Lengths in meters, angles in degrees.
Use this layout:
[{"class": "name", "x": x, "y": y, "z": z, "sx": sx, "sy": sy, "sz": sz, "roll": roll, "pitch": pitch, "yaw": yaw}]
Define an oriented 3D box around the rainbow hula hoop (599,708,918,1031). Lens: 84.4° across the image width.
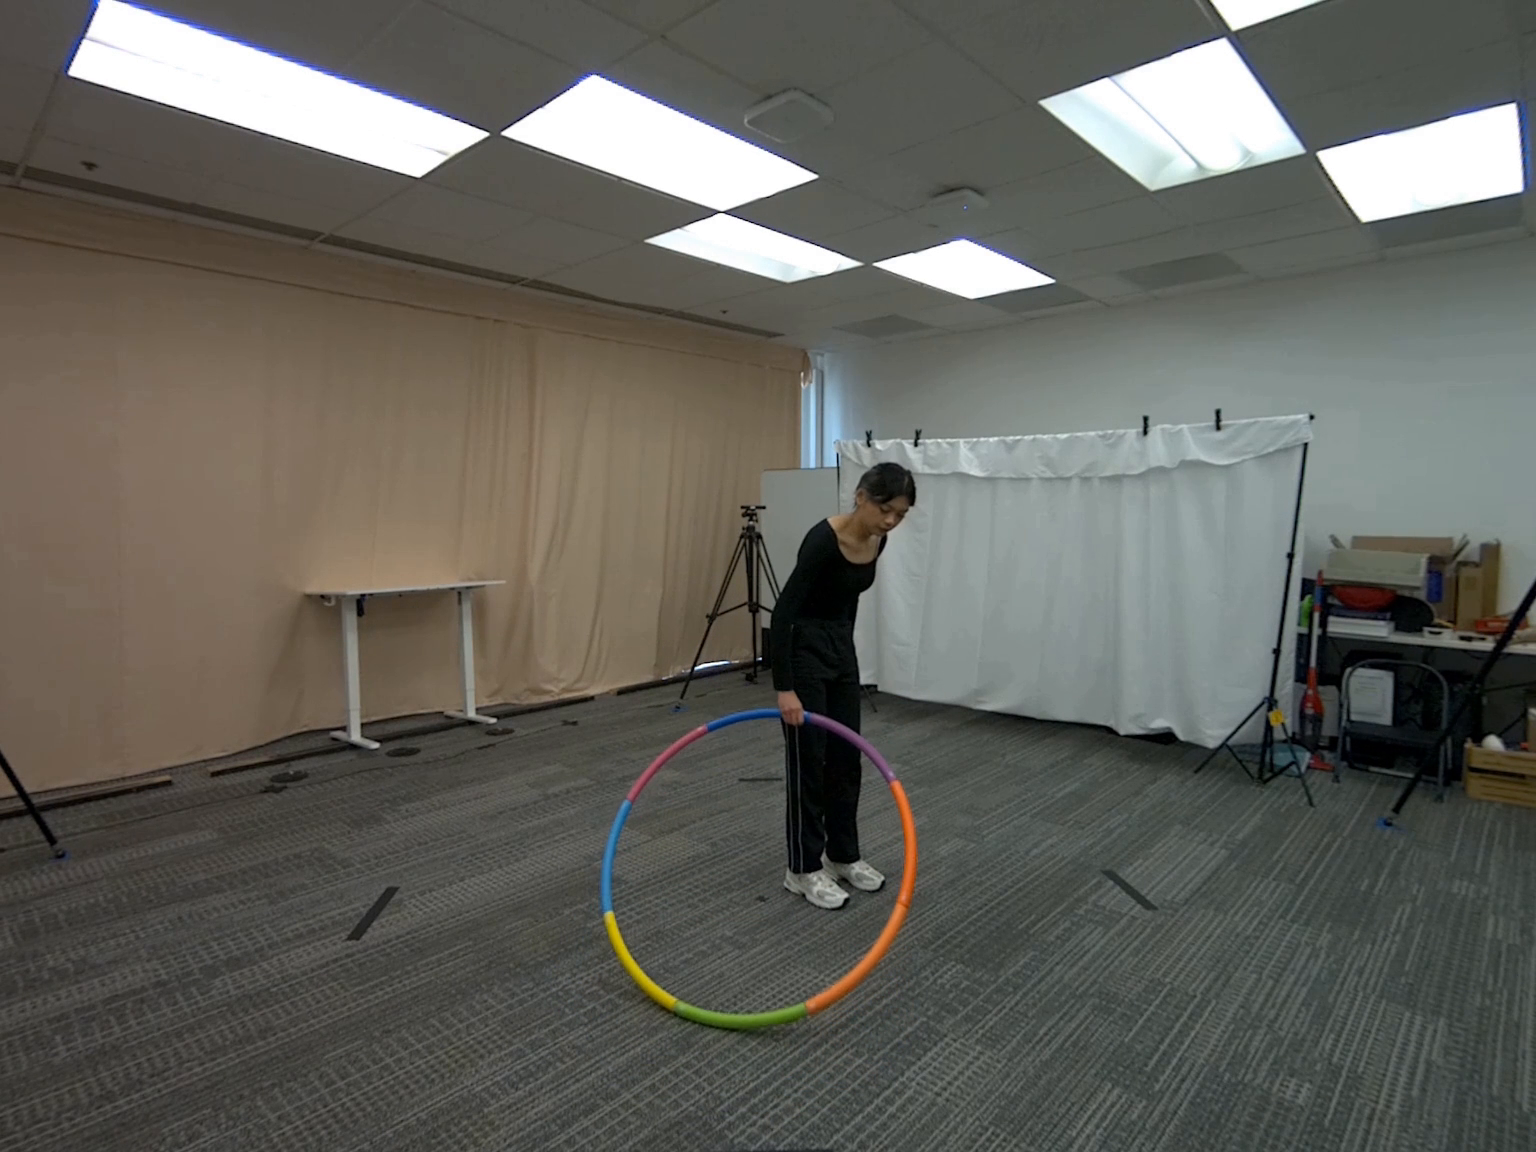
[{"class": "rainbow hula hoop", "x": -0.044, "y": 0.822, "z": 2.557, "sx": 0.989, "sy": 0.034, "sz": 0.998, "roll": -14, "pitch": 44, "yaw": 12}]
